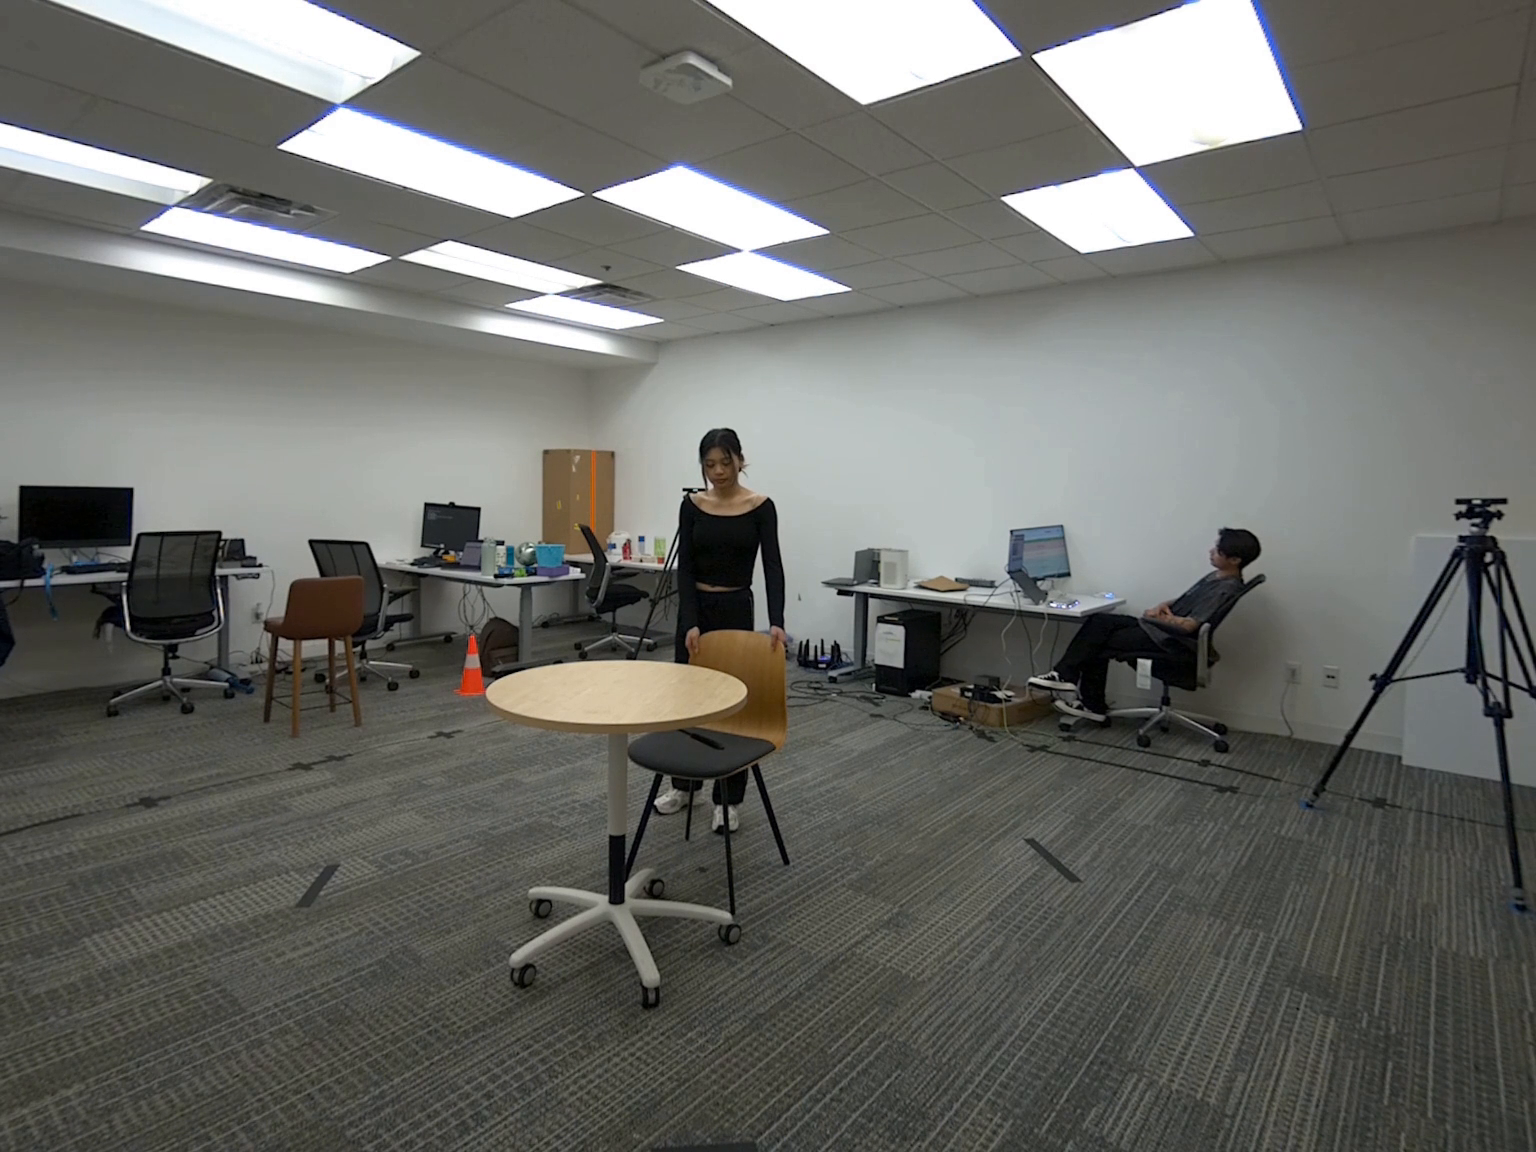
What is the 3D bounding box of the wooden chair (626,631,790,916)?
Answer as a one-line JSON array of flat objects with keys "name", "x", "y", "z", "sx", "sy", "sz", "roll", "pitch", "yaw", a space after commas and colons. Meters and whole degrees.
[{"name": "wooden chair", "x": -0.219, "y": 0.647, "z": 3.046, "sx": 0.491, "sy": 0.878, "sz": 0.508, "roll": 3, "pitch": -1, "yaw": 28}]
